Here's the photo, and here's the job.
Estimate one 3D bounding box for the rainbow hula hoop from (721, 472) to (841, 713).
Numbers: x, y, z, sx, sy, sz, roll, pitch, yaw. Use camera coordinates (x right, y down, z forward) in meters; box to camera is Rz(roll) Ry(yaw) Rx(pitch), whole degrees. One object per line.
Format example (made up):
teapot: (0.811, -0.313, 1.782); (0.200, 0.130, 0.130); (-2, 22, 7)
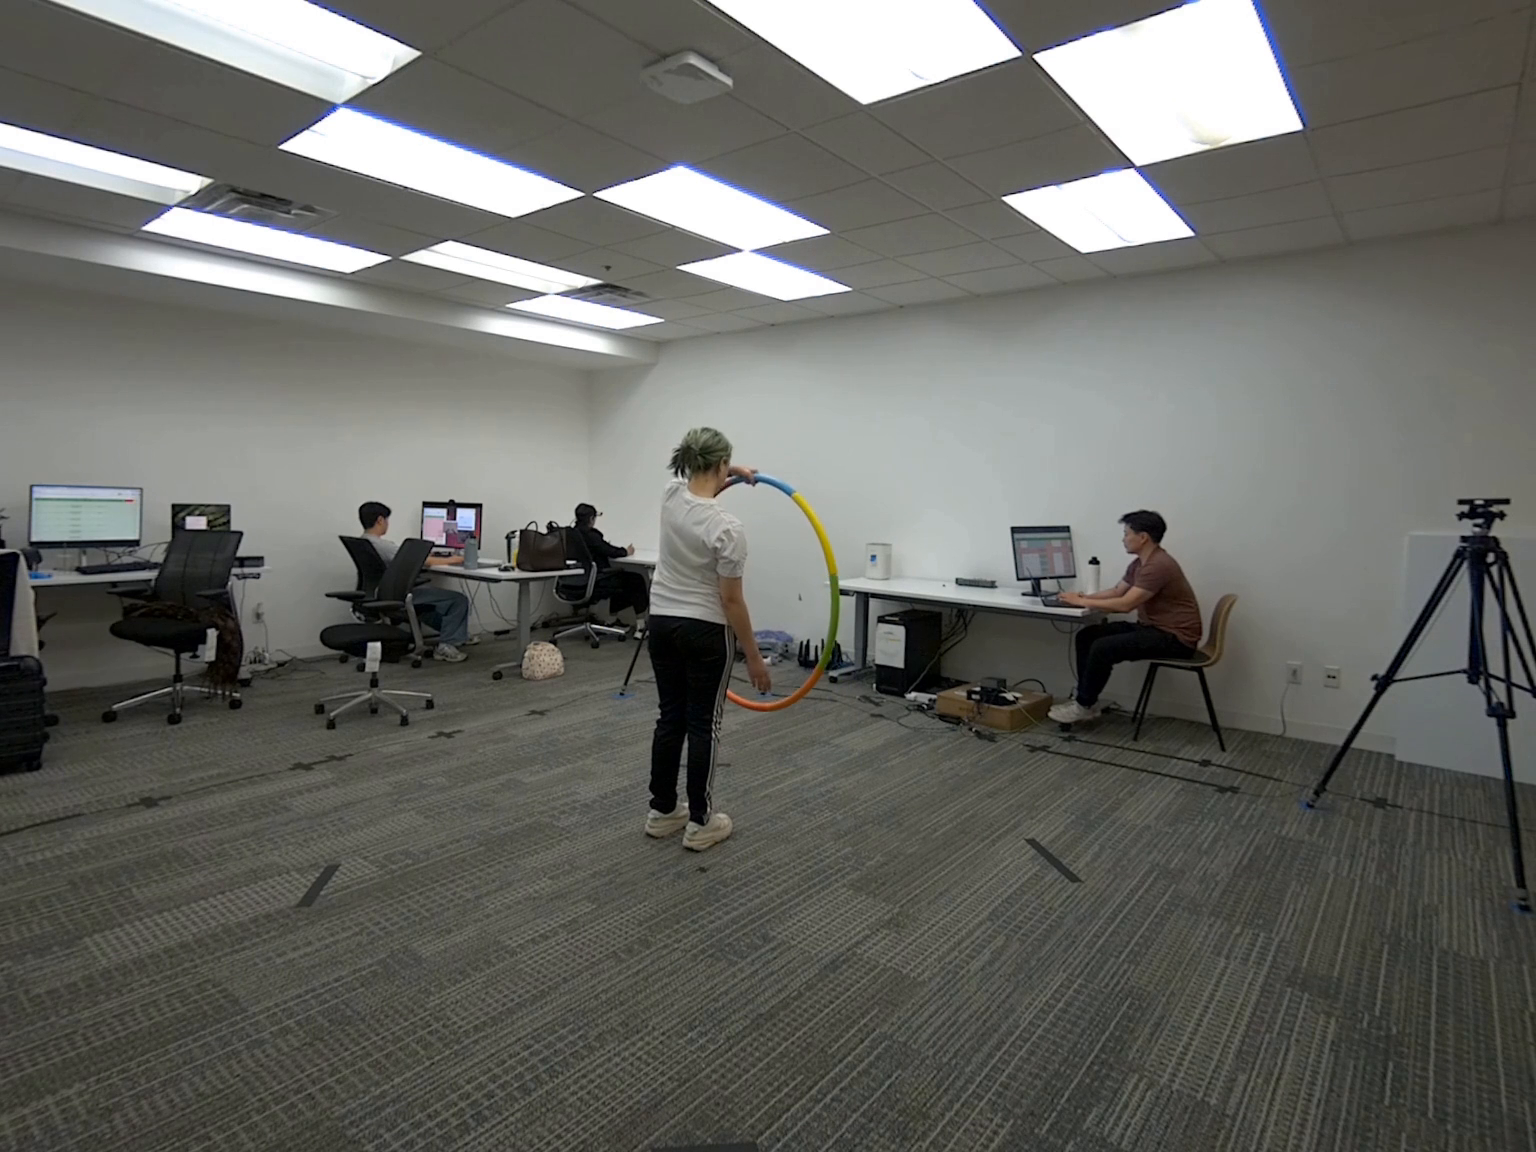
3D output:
rainbow hula hoop: (-0.083, 0.069, 3.574); (0.034, 0.975, 1.012); (-2, 5, -43)
